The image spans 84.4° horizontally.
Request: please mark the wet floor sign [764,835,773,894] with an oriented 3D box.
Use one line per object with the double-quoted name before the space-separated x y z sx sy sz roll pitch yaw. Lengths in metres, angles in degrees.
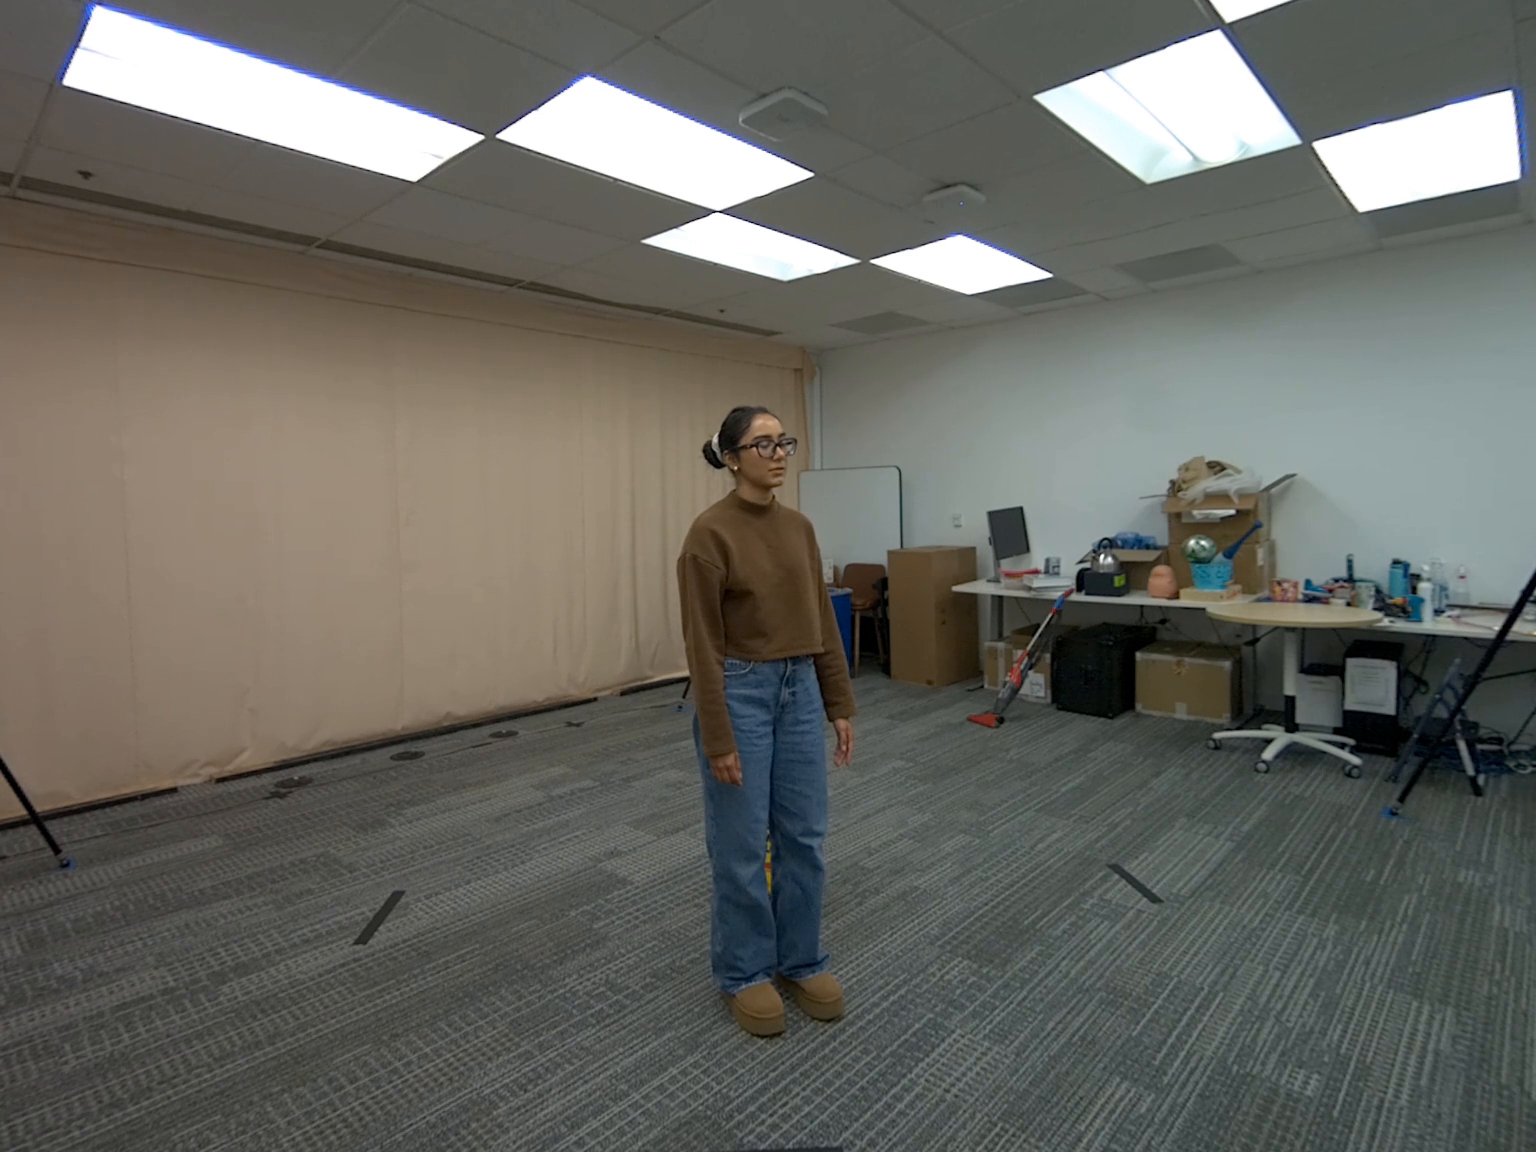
"wet floor sign" 0.043 0.815 2.960 0.287 0.645 0.285 1 3 14
